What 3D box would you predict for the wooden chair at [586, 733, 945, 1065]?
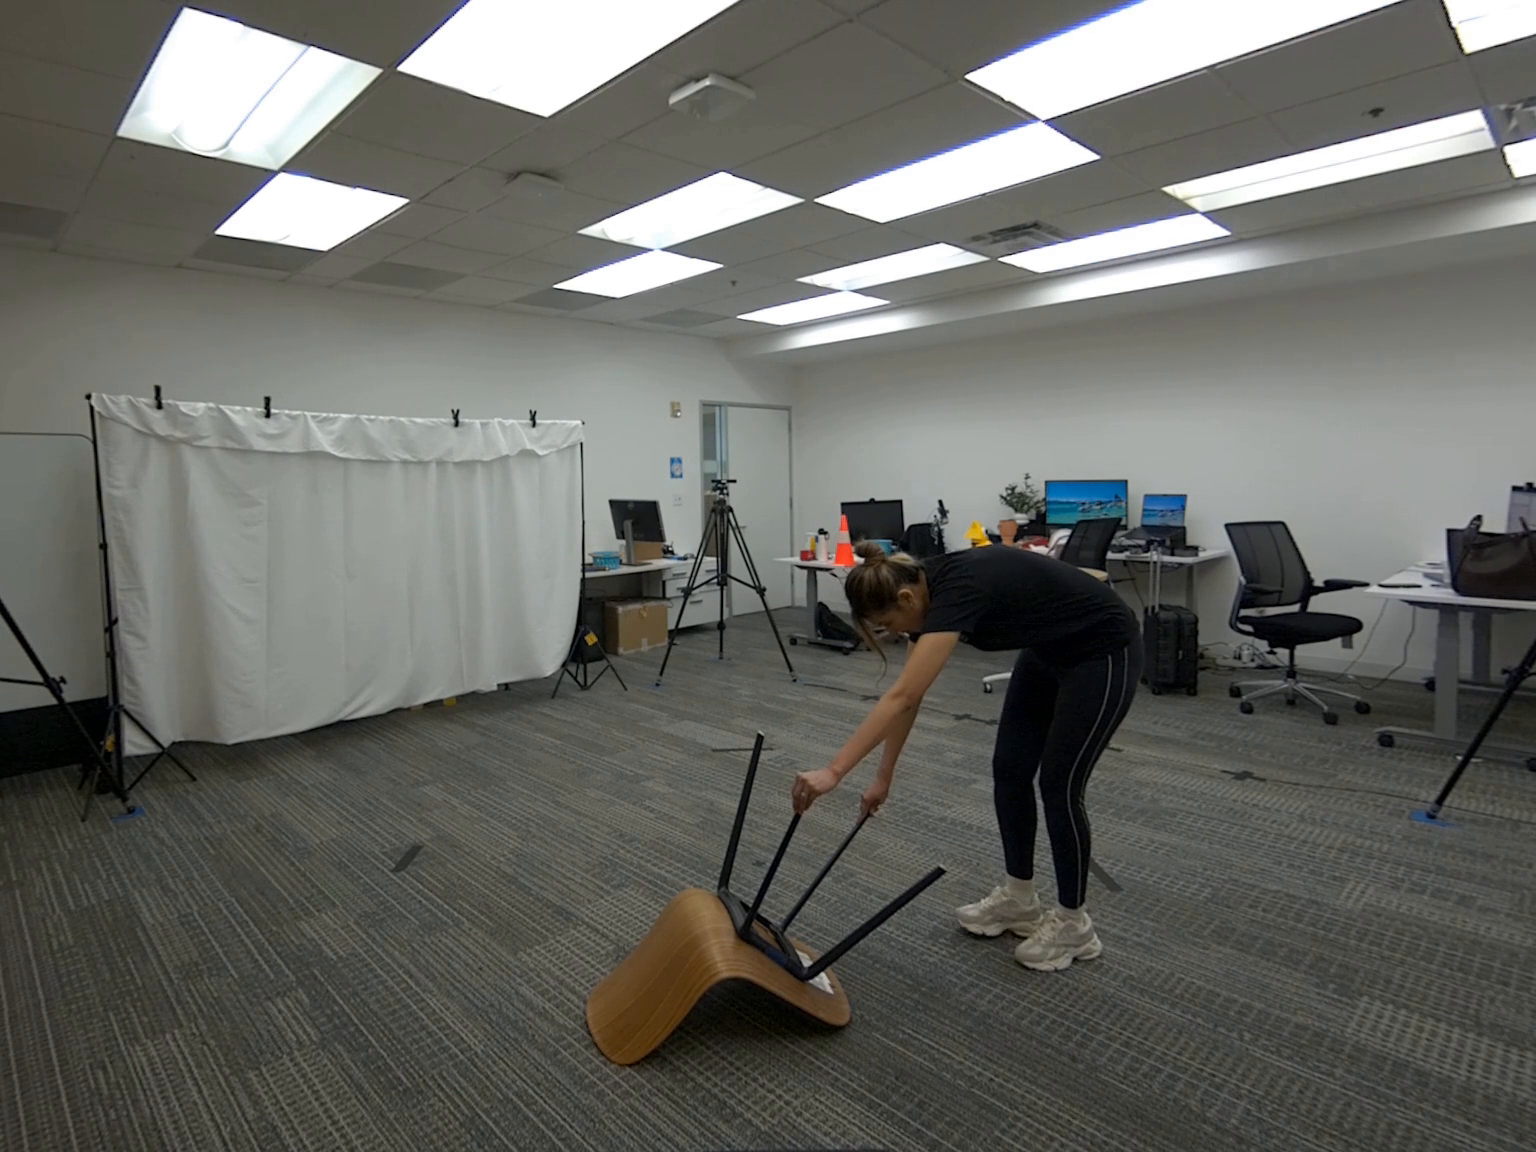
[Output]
[{"bbox_3d":[-0.003,0.964,2.314,0.513,0.878,0.487,39,-7,-15],"label":"wooden chair"}]
